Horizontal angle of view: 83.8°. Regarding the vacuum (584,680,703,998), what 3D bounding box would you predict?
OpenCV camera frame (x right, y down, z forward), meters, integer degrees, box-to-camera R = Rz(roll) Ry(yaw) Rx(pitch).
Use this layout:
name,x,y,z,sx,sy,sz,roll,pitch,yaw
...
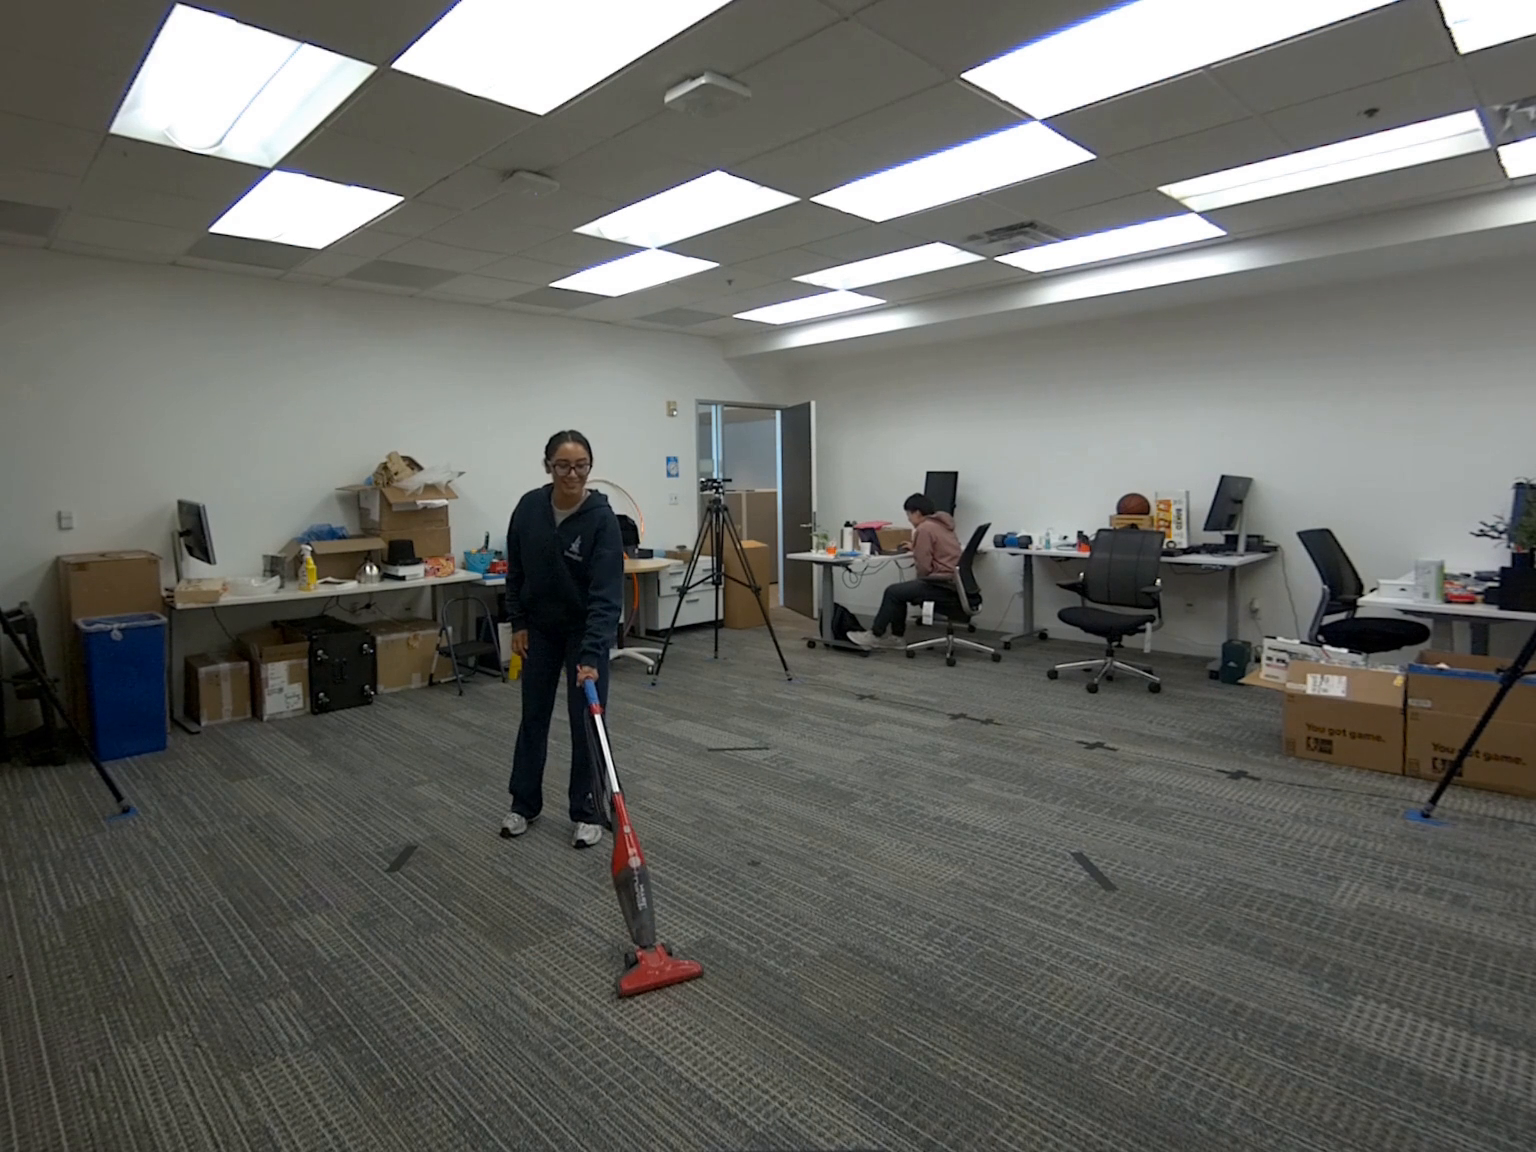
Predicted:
name,x,y,z,sx,sy,sz,roll,pitch,yaw
vacuum,-0.497,0.726,2.757,0.246,0.142,1.087,0,46,-28
